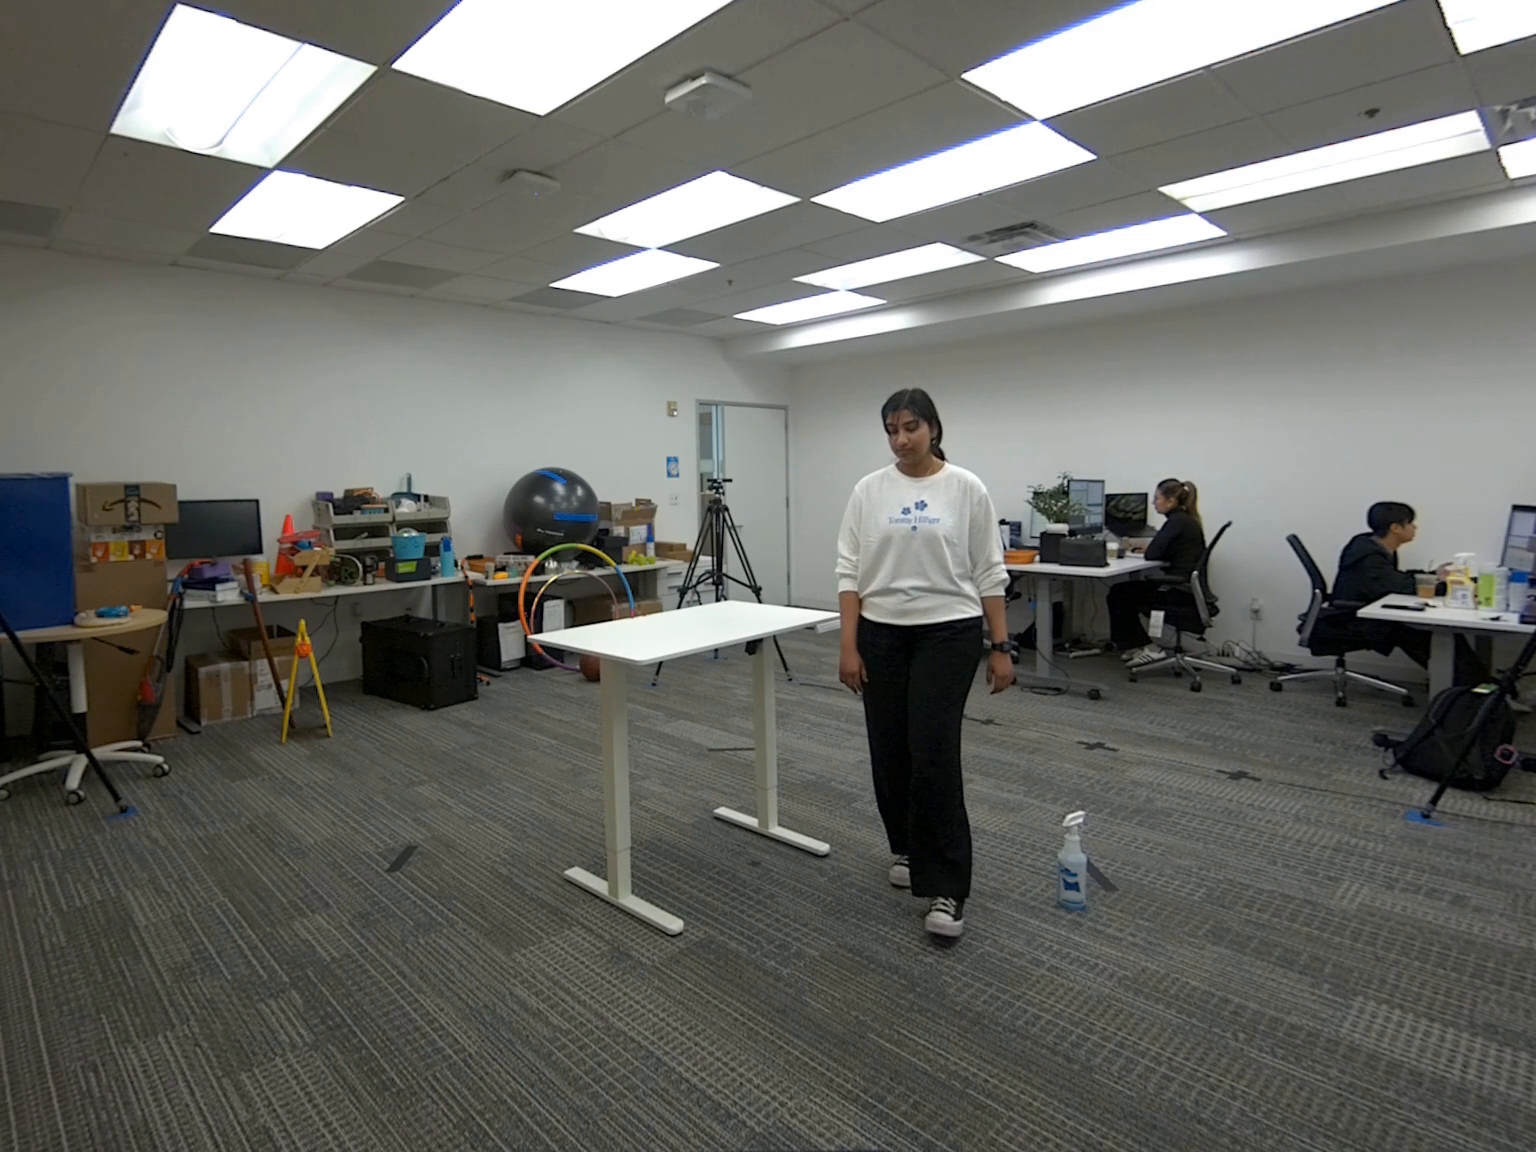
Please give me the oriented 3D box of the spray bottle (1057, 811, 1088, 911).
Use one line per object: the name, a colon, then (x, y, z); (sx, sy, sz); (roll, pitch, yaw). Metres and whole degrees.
spray bottle: (0.988, 0.919, 2.767); (0.090, 0.297, 0.087); (0, 1, 2)
